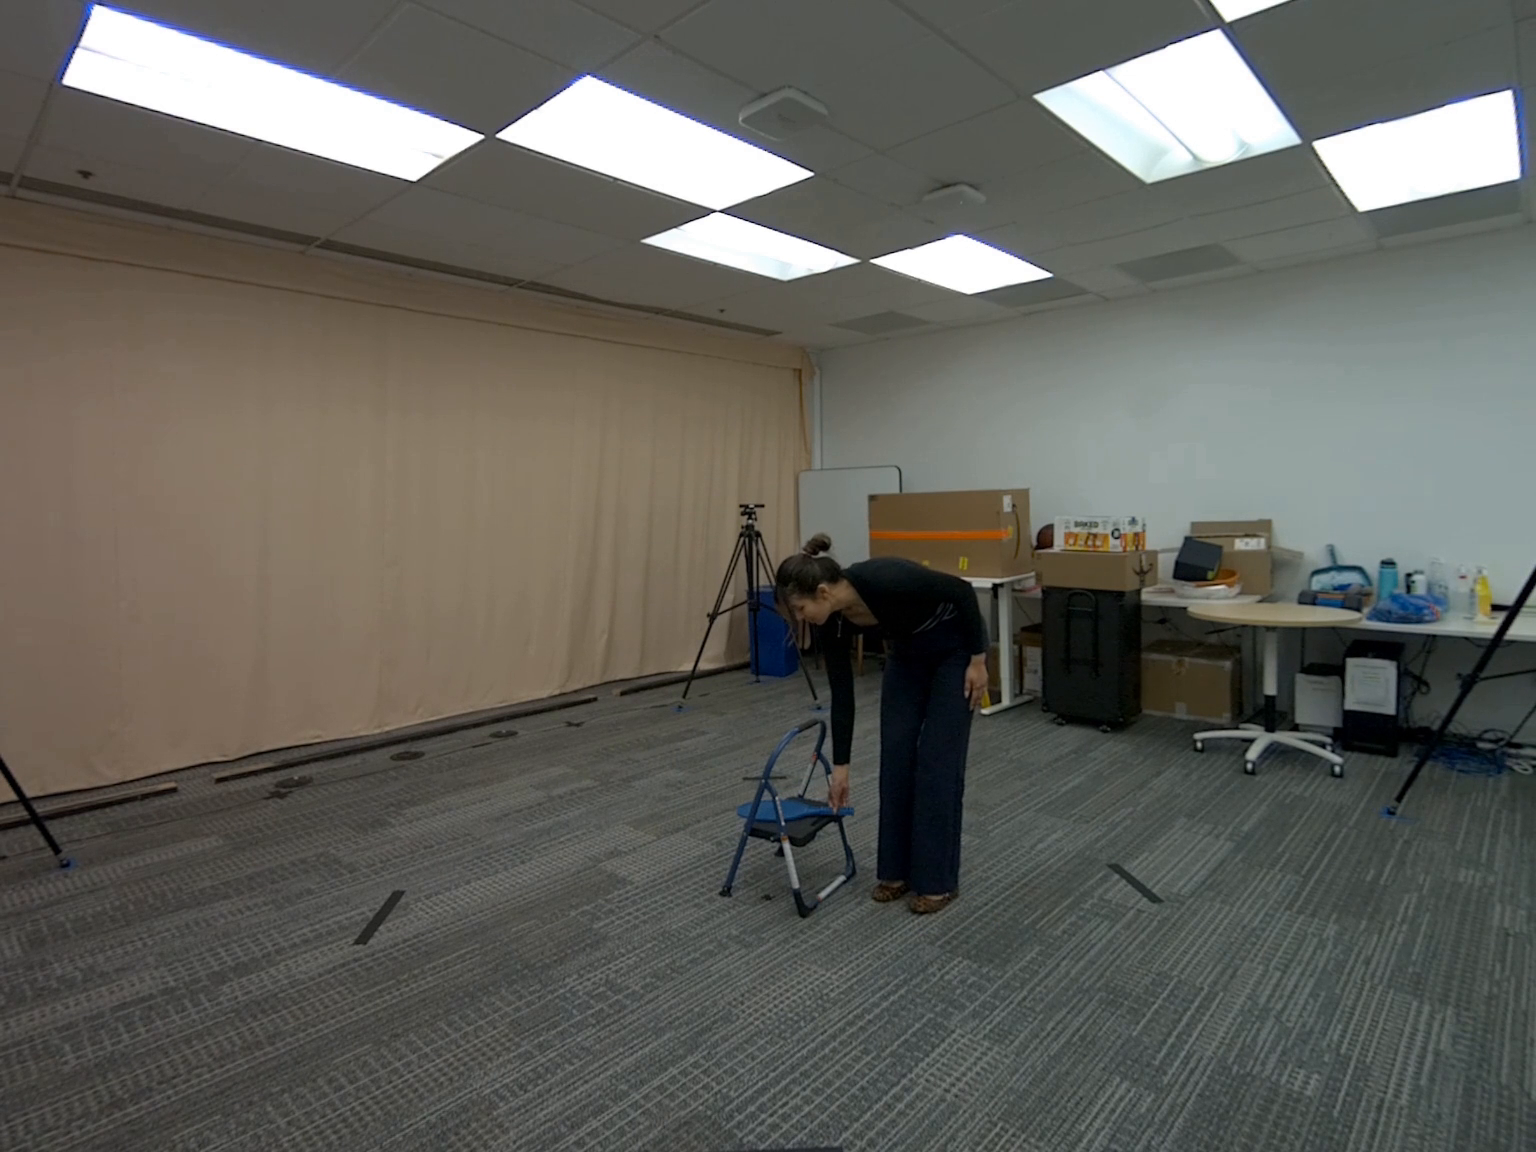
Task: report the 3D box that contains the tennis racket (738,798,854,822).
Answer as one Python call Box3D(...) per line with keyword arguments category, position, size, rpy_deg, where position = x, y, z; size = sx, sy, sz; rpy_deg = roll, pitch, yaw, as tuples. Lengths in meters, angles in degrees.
Box3D(category="tennis racket", position=(0.097, 0.862, 3.066), size=(0.438, 0.032, 0.212), rpy_deg=(-3, 3, 10))
